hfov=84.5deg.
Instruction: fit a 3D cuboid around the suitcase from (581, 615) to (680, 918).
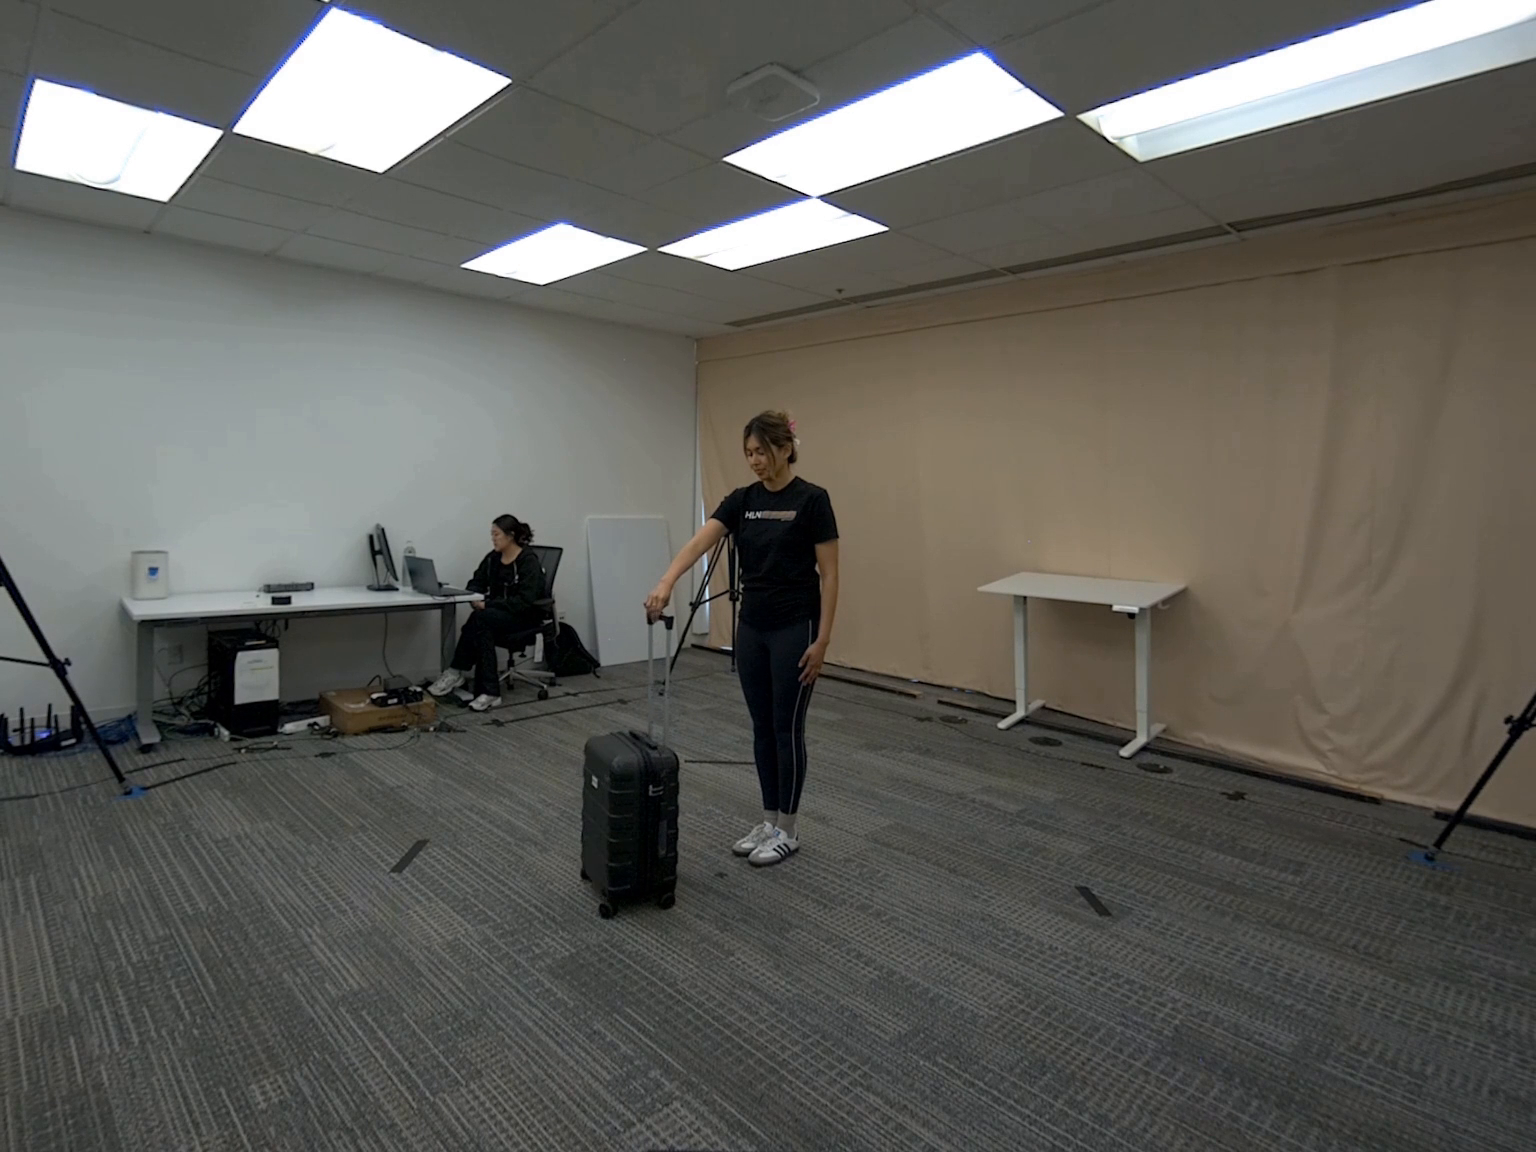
[{"bbox_3d":[-0.491,0.638,2.917,0.253,0.976,0.391,-1,4,-24],"label":"suitcase"}]
